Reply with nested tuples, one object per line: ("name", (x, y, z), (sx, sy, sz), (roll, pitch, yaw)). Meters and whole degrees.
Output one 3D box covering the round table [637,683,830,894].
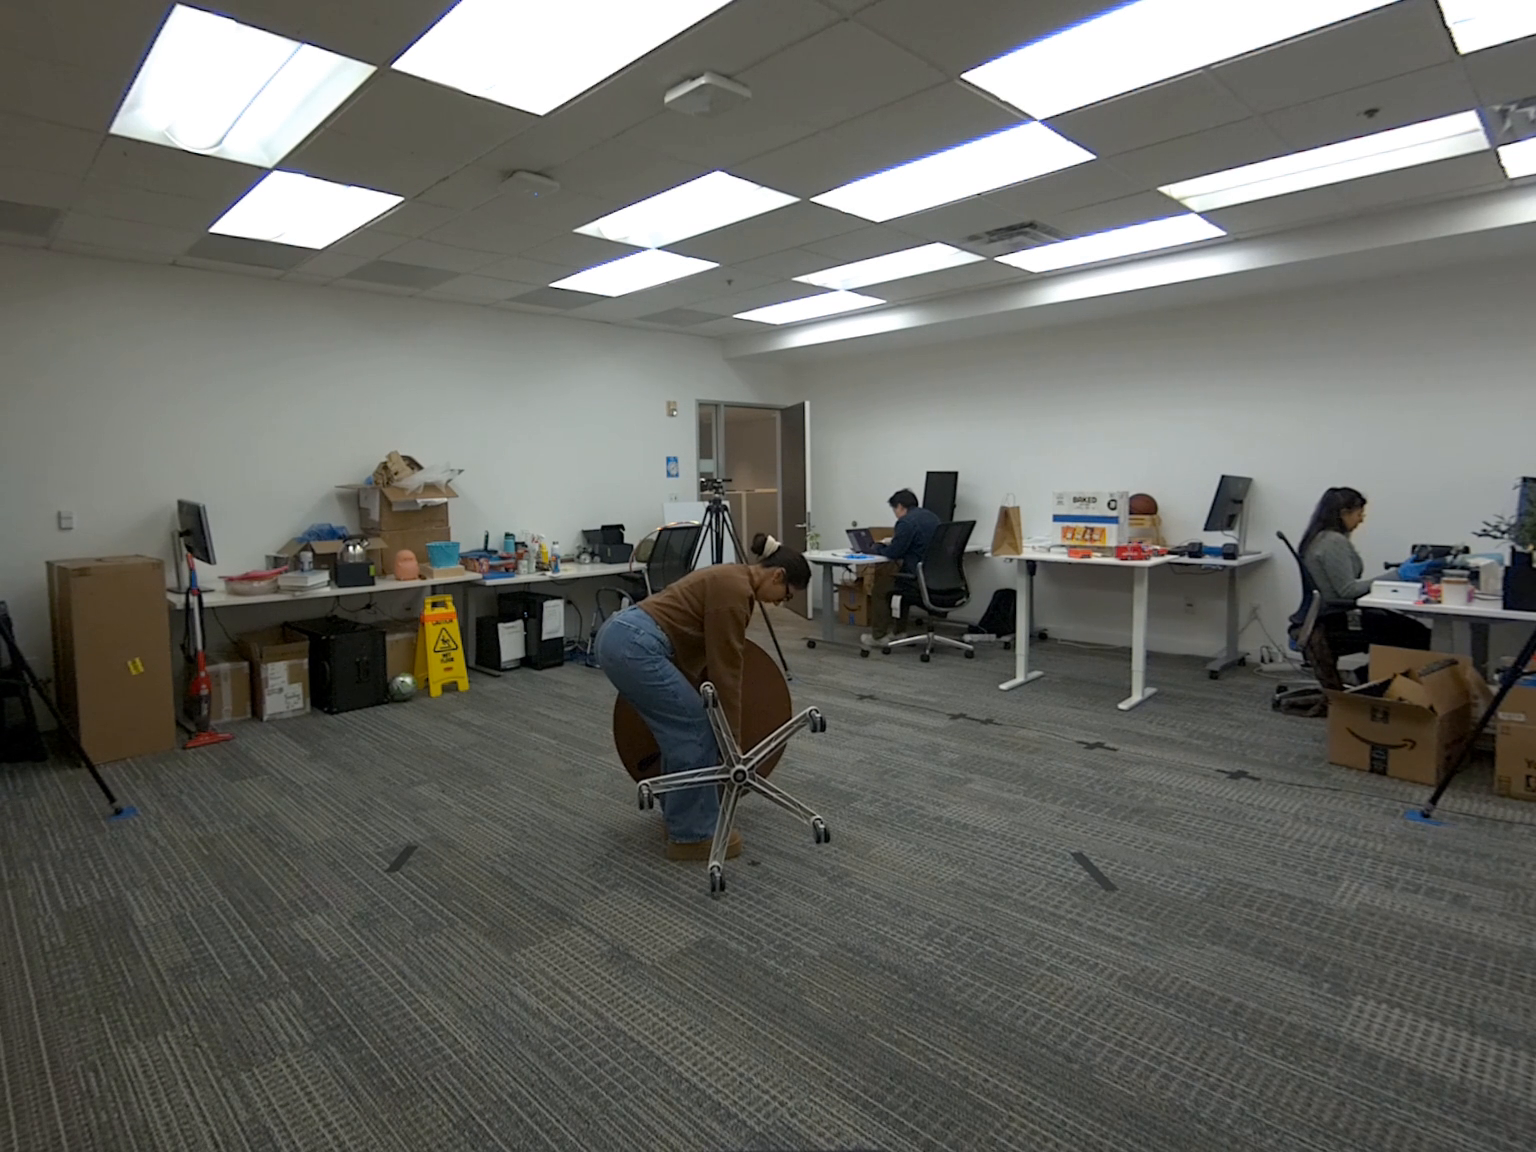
("round table", (-0.173, 0.649, 3.209), (0.755, 0.759, 0.808), (-2, 7, -13))
